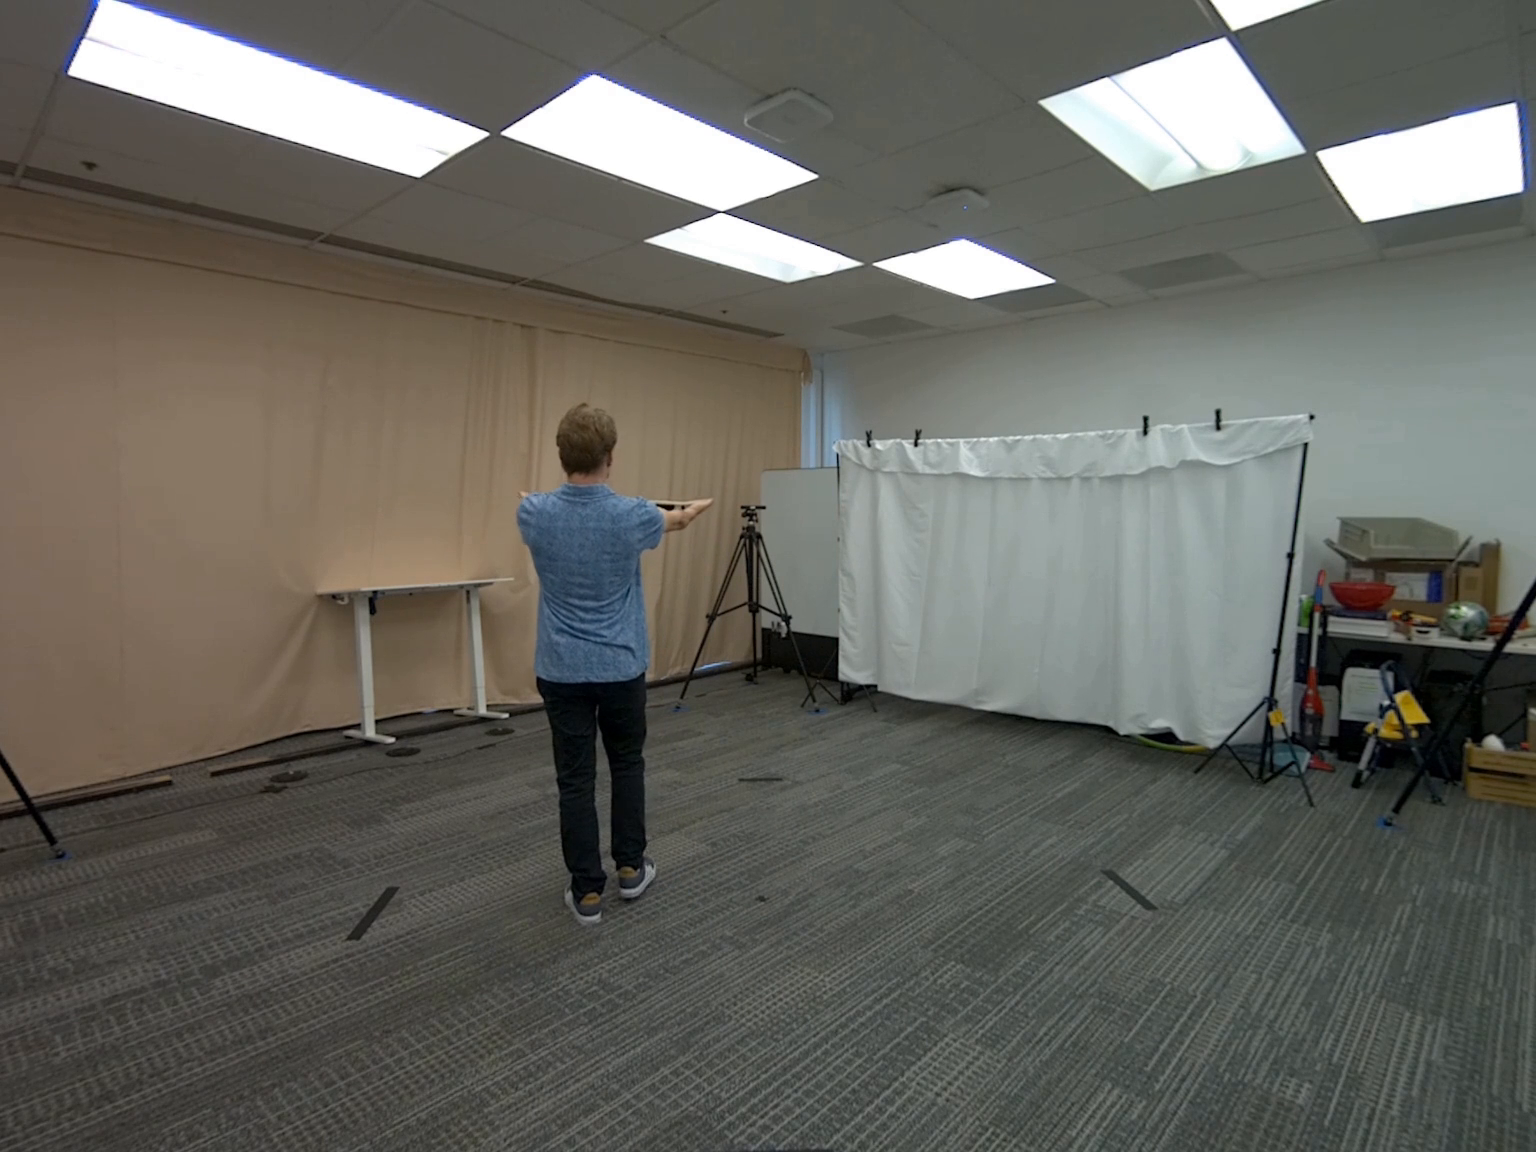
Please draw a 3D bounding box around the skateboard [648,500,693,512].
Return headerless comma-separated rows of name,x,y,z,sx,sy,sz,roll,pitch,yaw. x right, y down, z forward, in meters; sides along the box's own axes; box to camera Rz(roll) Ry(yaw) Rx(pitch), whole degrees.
skateboard,-0.616,-0.274,3.443,0.785,0.110,0.193,2,1,-1
